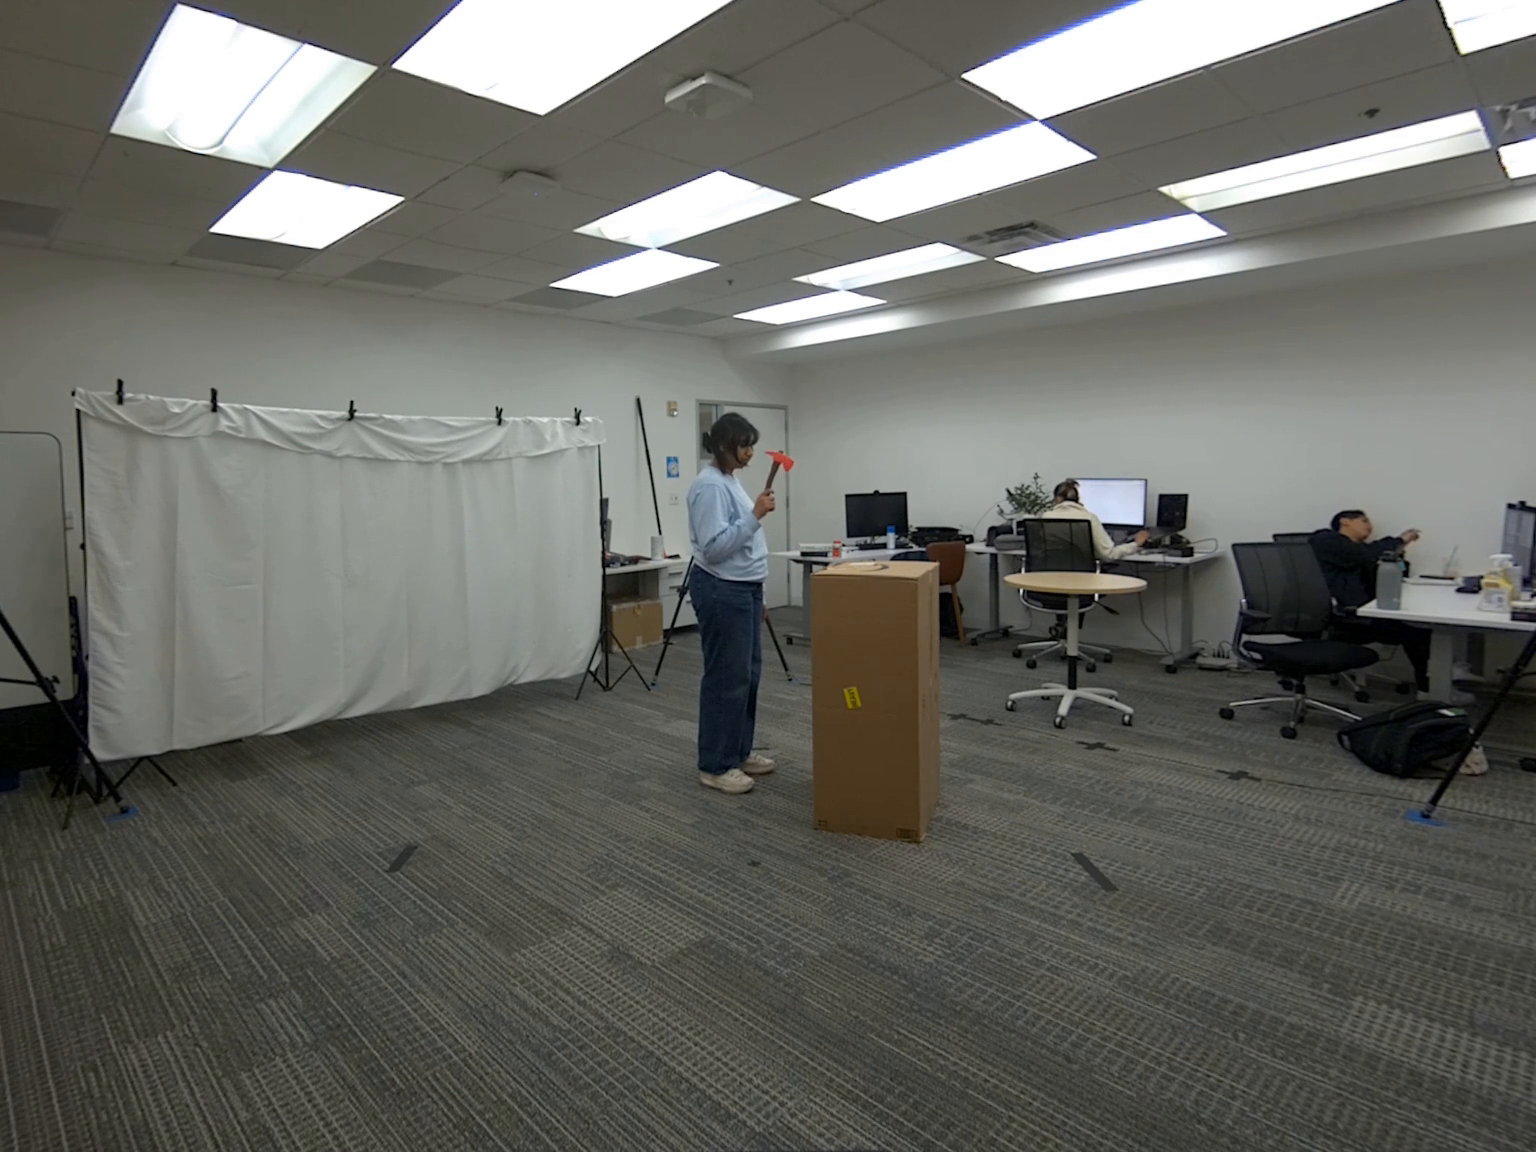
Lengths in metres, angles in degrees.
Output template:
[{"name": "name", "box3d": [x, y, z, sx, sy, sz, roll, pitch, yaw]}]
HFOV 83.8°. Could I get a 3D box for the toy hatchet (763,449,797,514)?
[{"name": "toy hatchet", "box3d": [0.048, -0.412, 3.725, 0.132, 0.270, 0.029, 3, -1, 8]}]
